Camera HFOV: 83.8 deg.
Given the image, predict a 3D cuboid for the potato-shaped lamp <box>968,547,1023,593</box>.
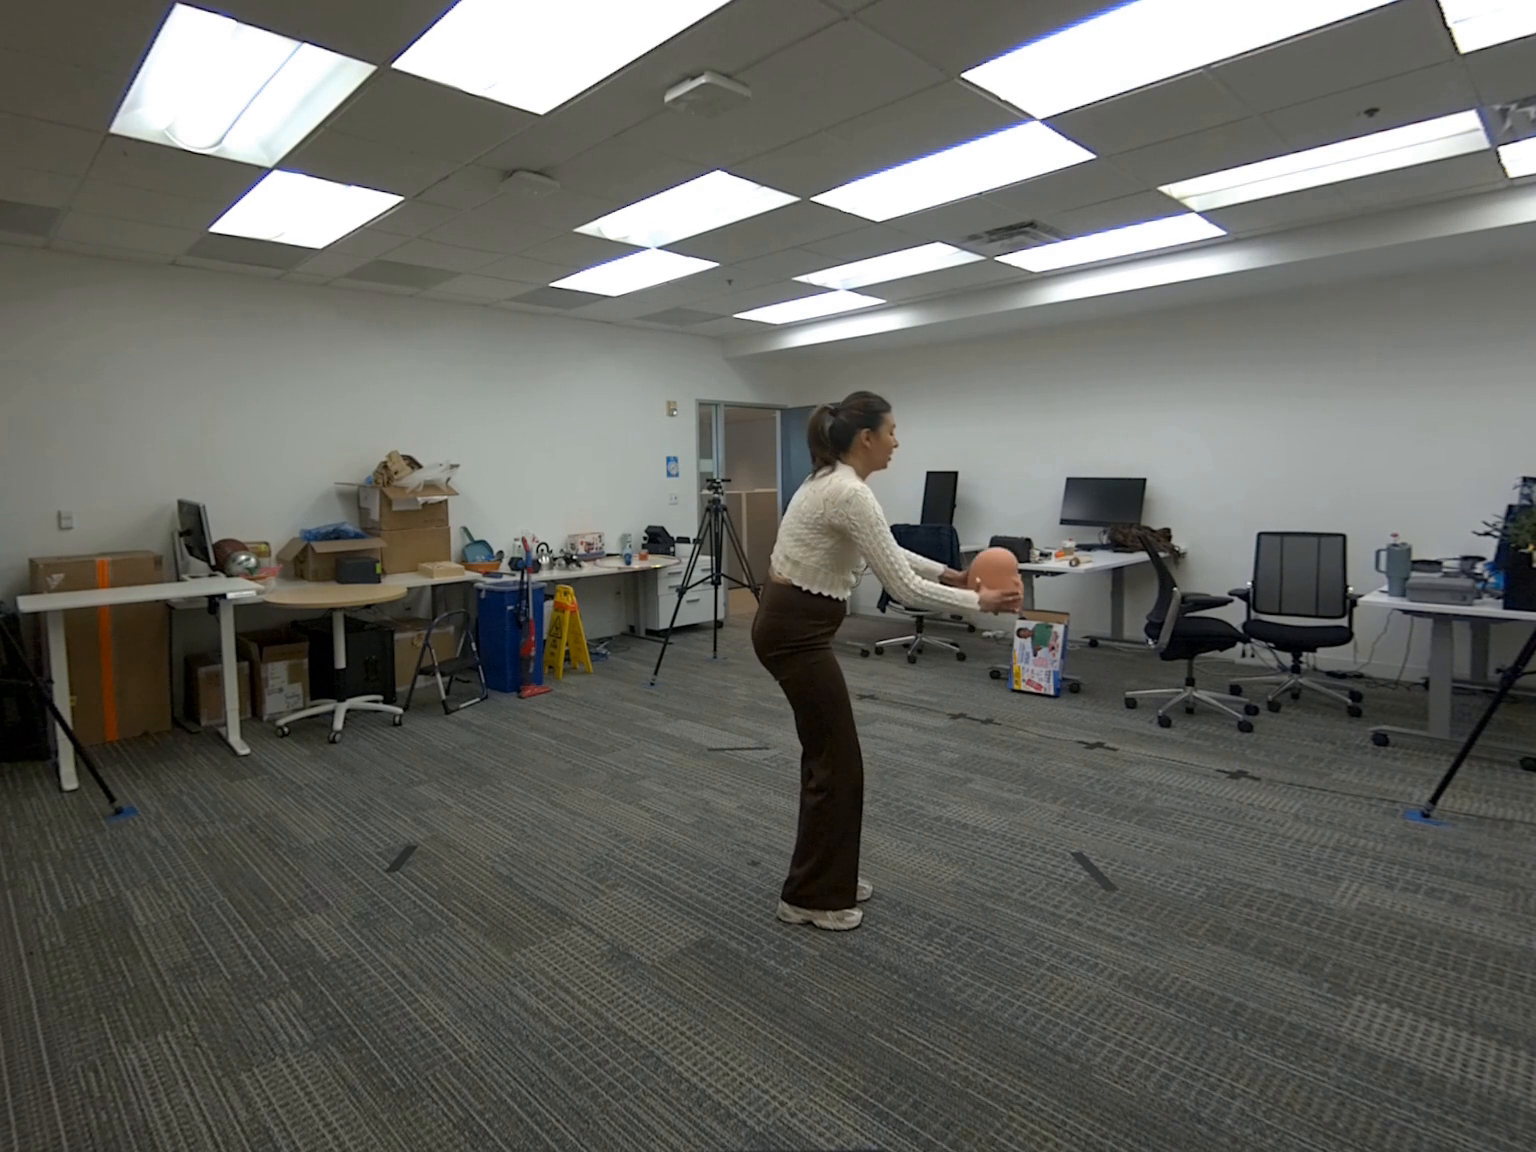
[{"bbox_3d":[0.712,0.021,2.680,0.173,0.197,0.164,5,7,9],"label":"potato-shaped lamp"}]
